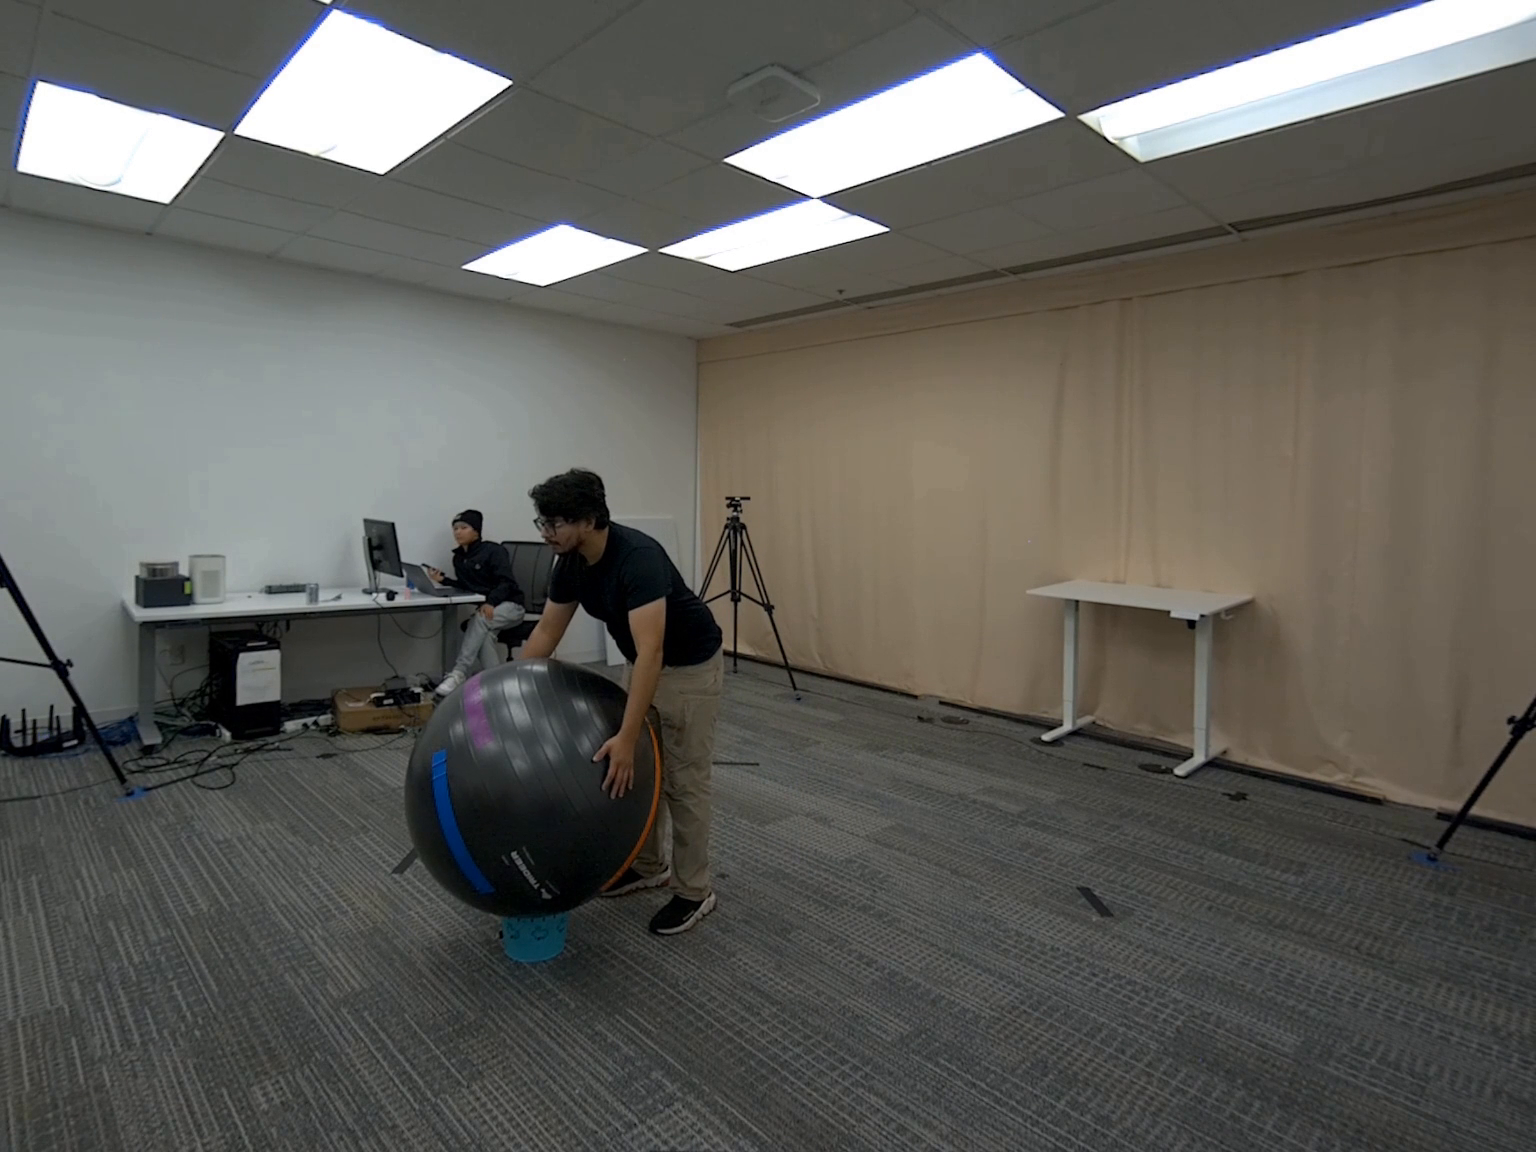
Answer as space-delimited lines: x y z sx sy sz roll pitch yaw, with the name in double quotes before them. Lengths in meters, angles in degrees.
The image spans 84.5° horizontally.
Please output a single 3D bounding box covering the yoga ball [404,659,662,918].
"yoga ball" -0.714 0.637 2.564 0.757 0.756 0.761 1 4 -1
